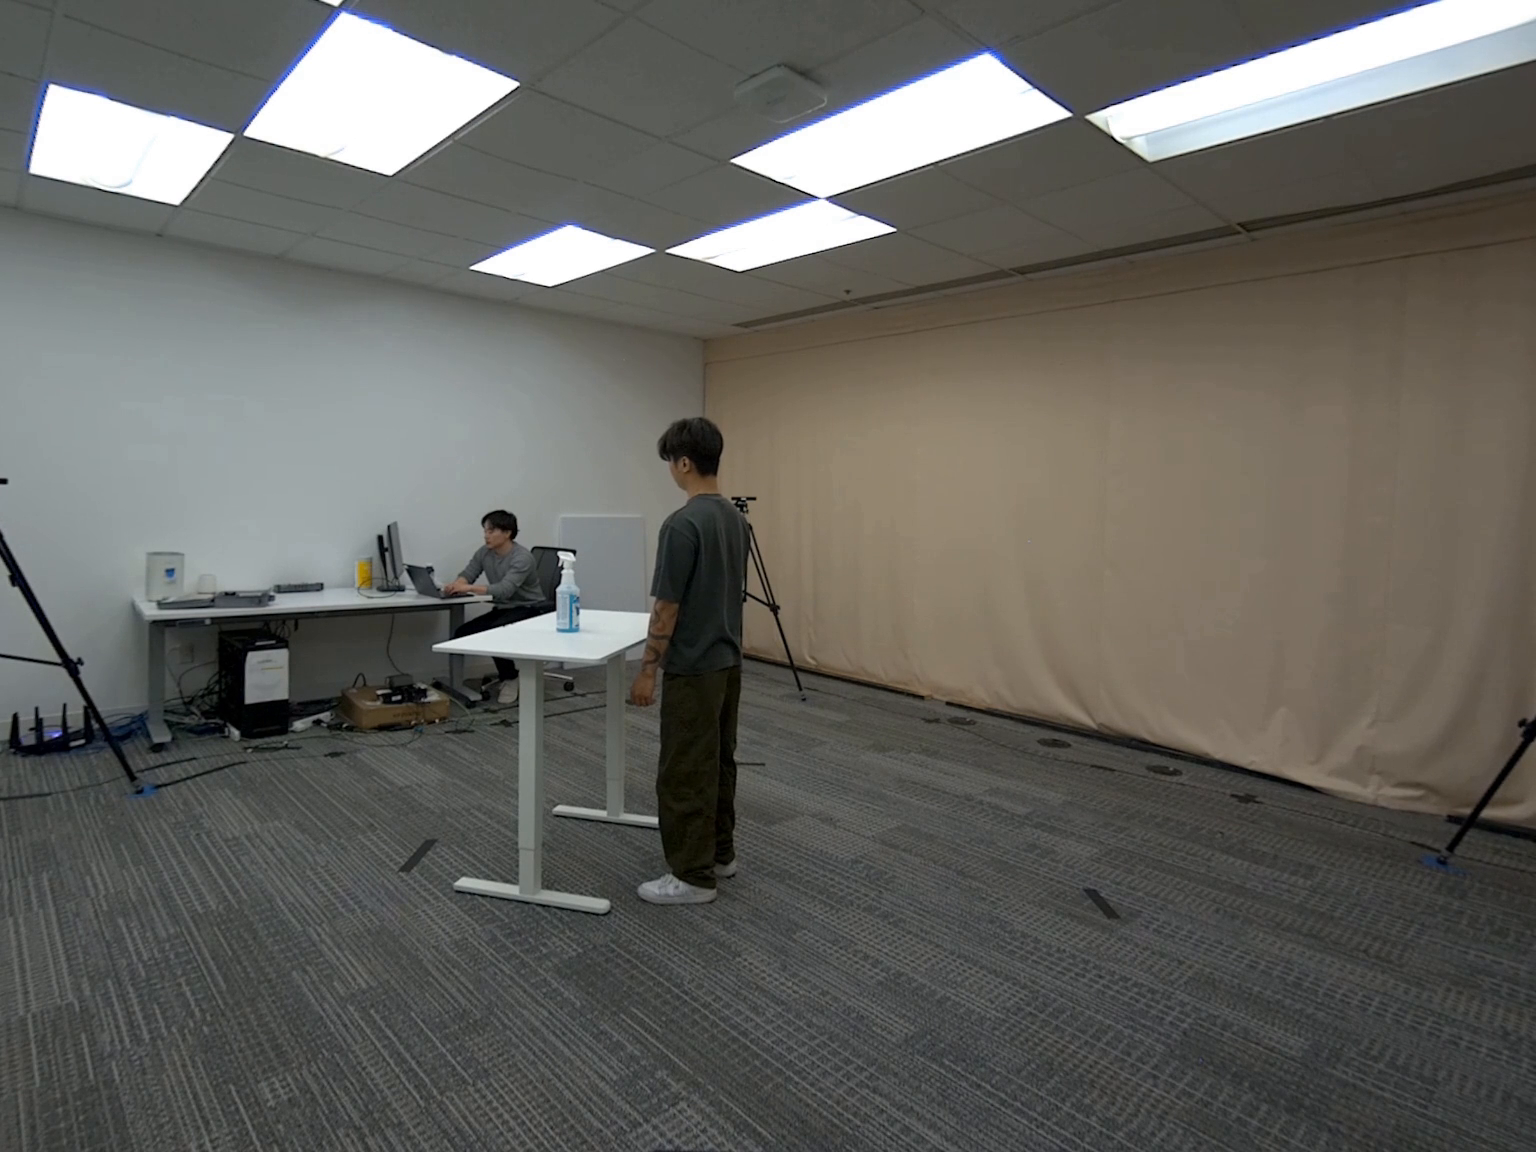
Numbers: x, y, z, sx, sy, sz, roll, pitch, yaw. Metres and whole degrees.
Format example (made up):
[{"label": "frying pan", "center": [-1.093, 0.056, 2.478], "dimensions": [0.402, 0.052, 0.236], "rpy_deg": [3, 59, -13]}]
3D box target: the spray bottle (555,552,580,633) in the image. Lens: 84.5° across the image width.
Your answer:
[{"label": "spray bottle", "center": [-0.752, 0.062, 3.145], "dimensions": [0.085, 0.296, 0.092], "rpy_deg": [-3, 6, -29]}]
